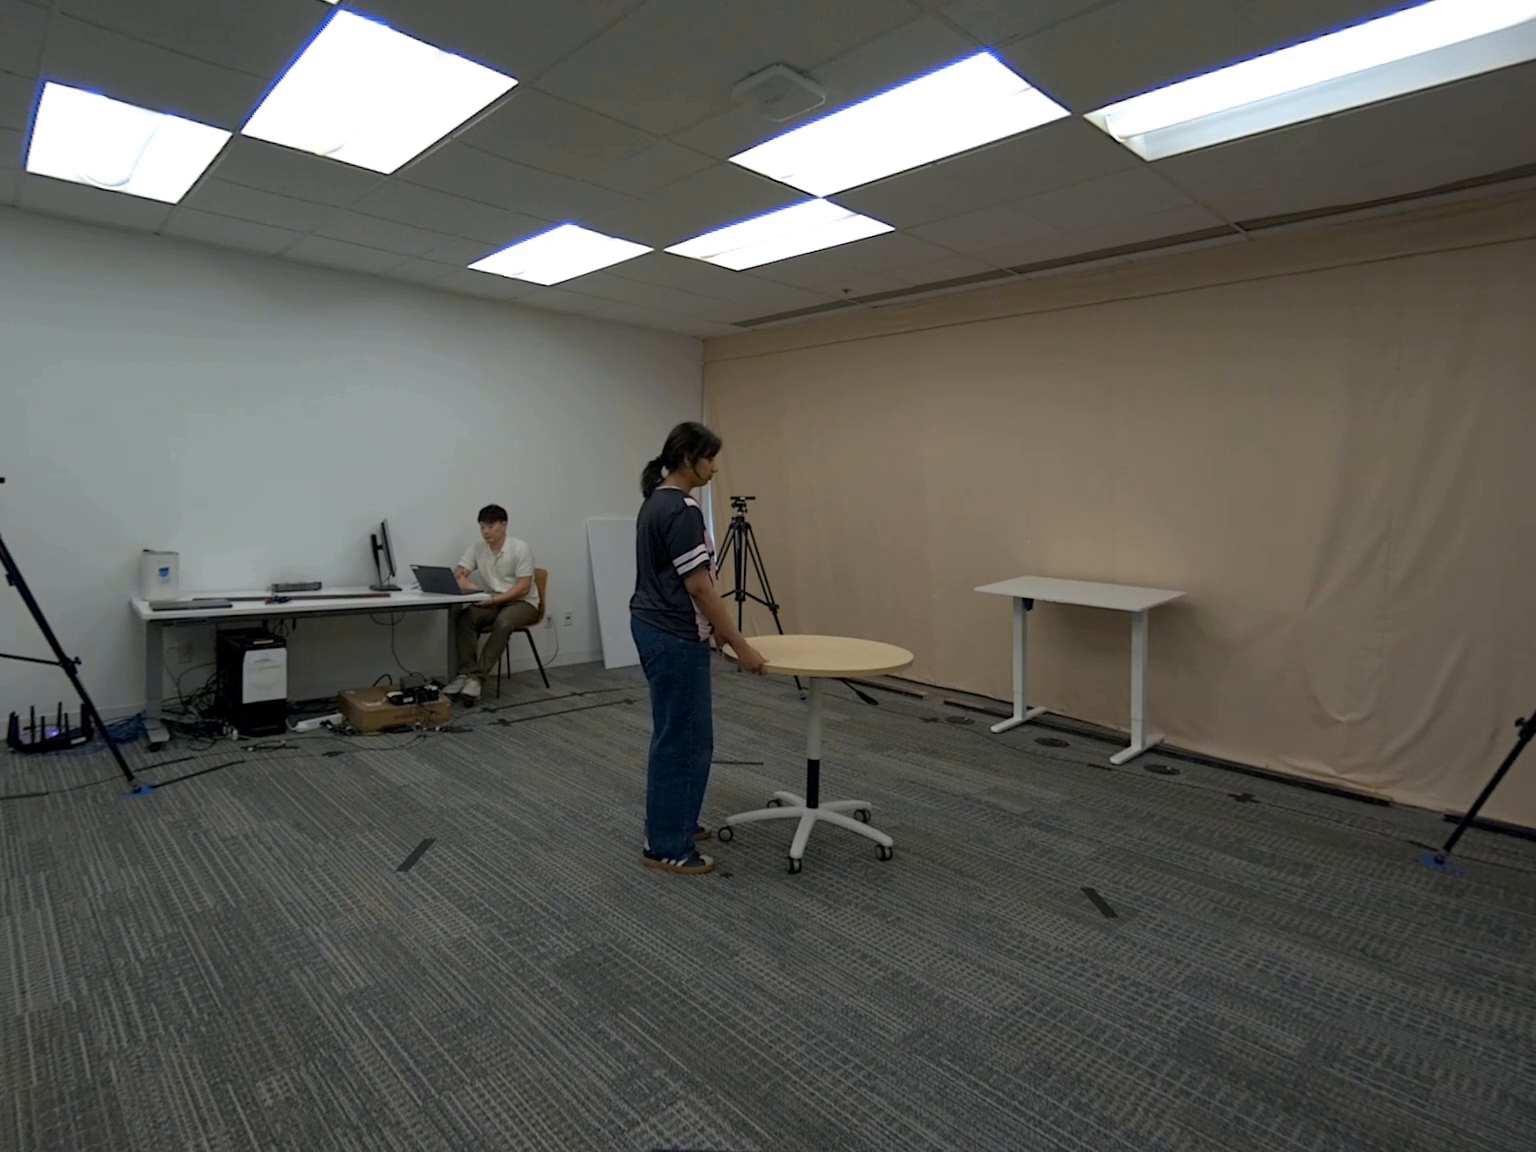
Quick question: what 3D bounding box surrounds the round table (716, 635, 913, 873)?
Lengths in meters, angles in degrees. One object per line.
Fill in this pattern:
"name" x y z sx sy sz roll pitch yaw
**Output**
"round table" 0.164 0.689 3.429 0.784 0.784 0.788 2 4 -1
